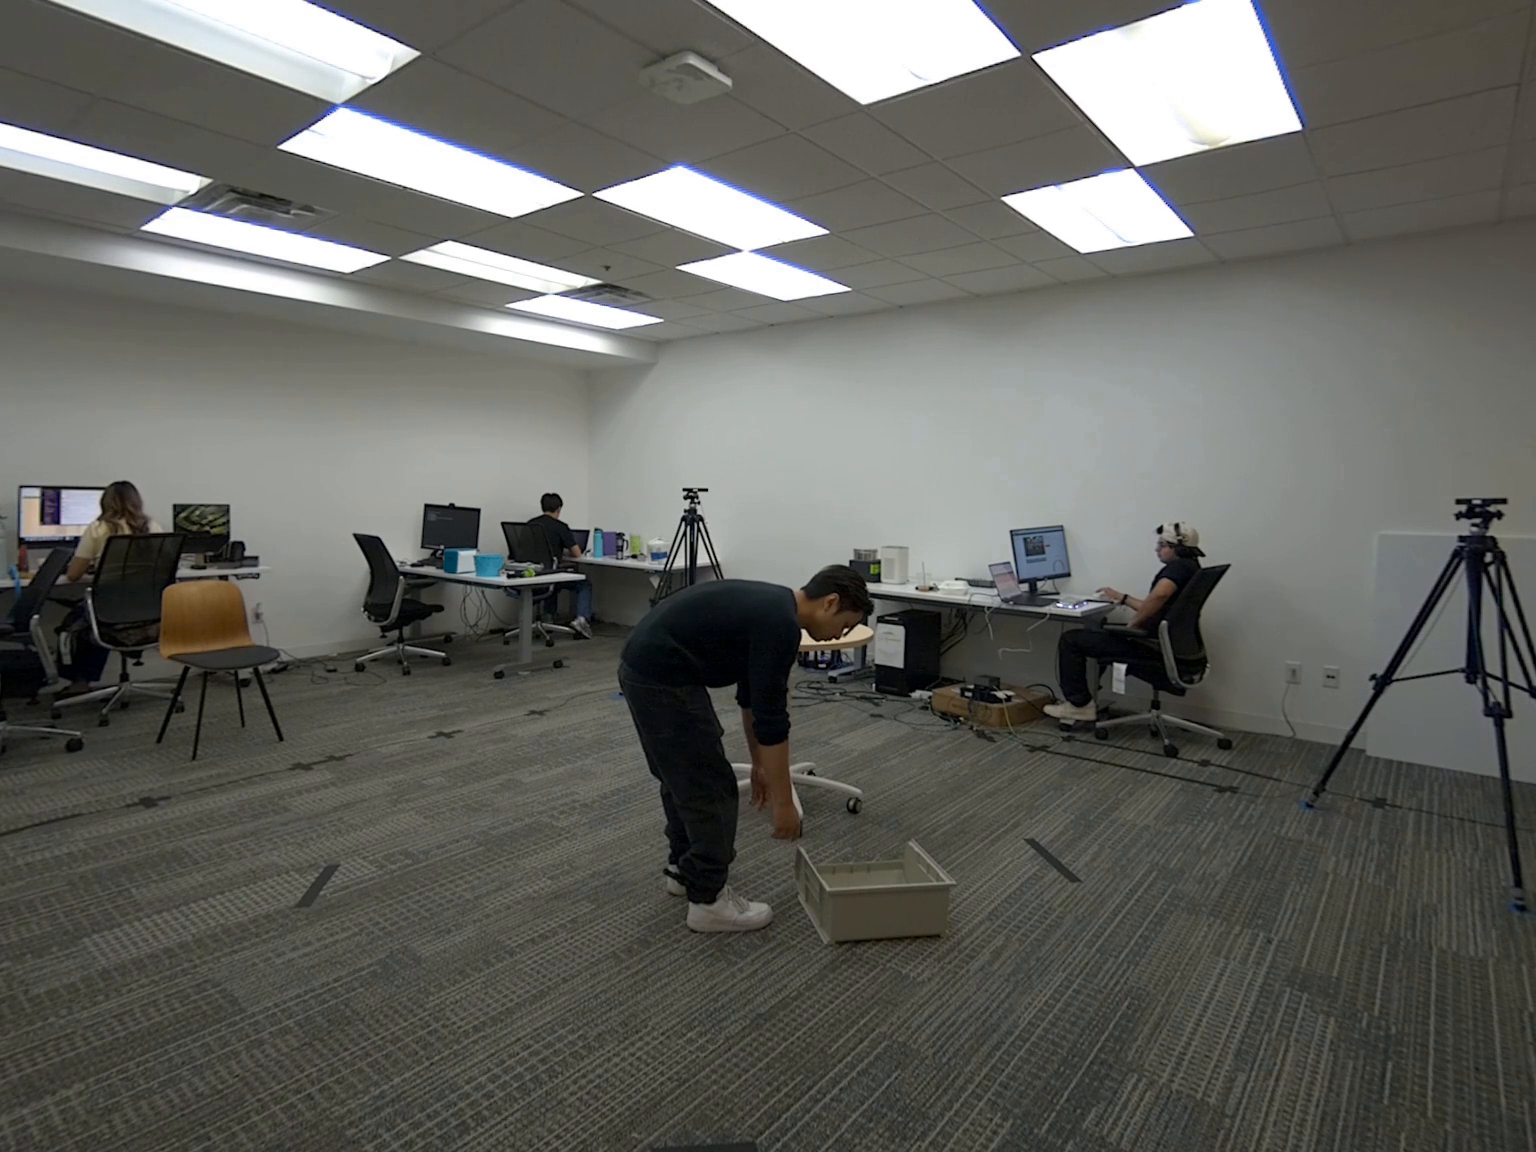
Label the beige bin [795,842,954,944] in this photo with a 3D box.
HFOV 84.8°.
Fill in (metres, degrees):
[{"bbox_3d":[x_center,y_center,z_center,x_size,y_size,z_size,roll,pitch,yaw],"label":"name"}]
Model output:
[{"bbox_3d":[0.331,1.027,2.798,0.417,0.188,0.383,1,5,-12],"label":"beige bin"}]
